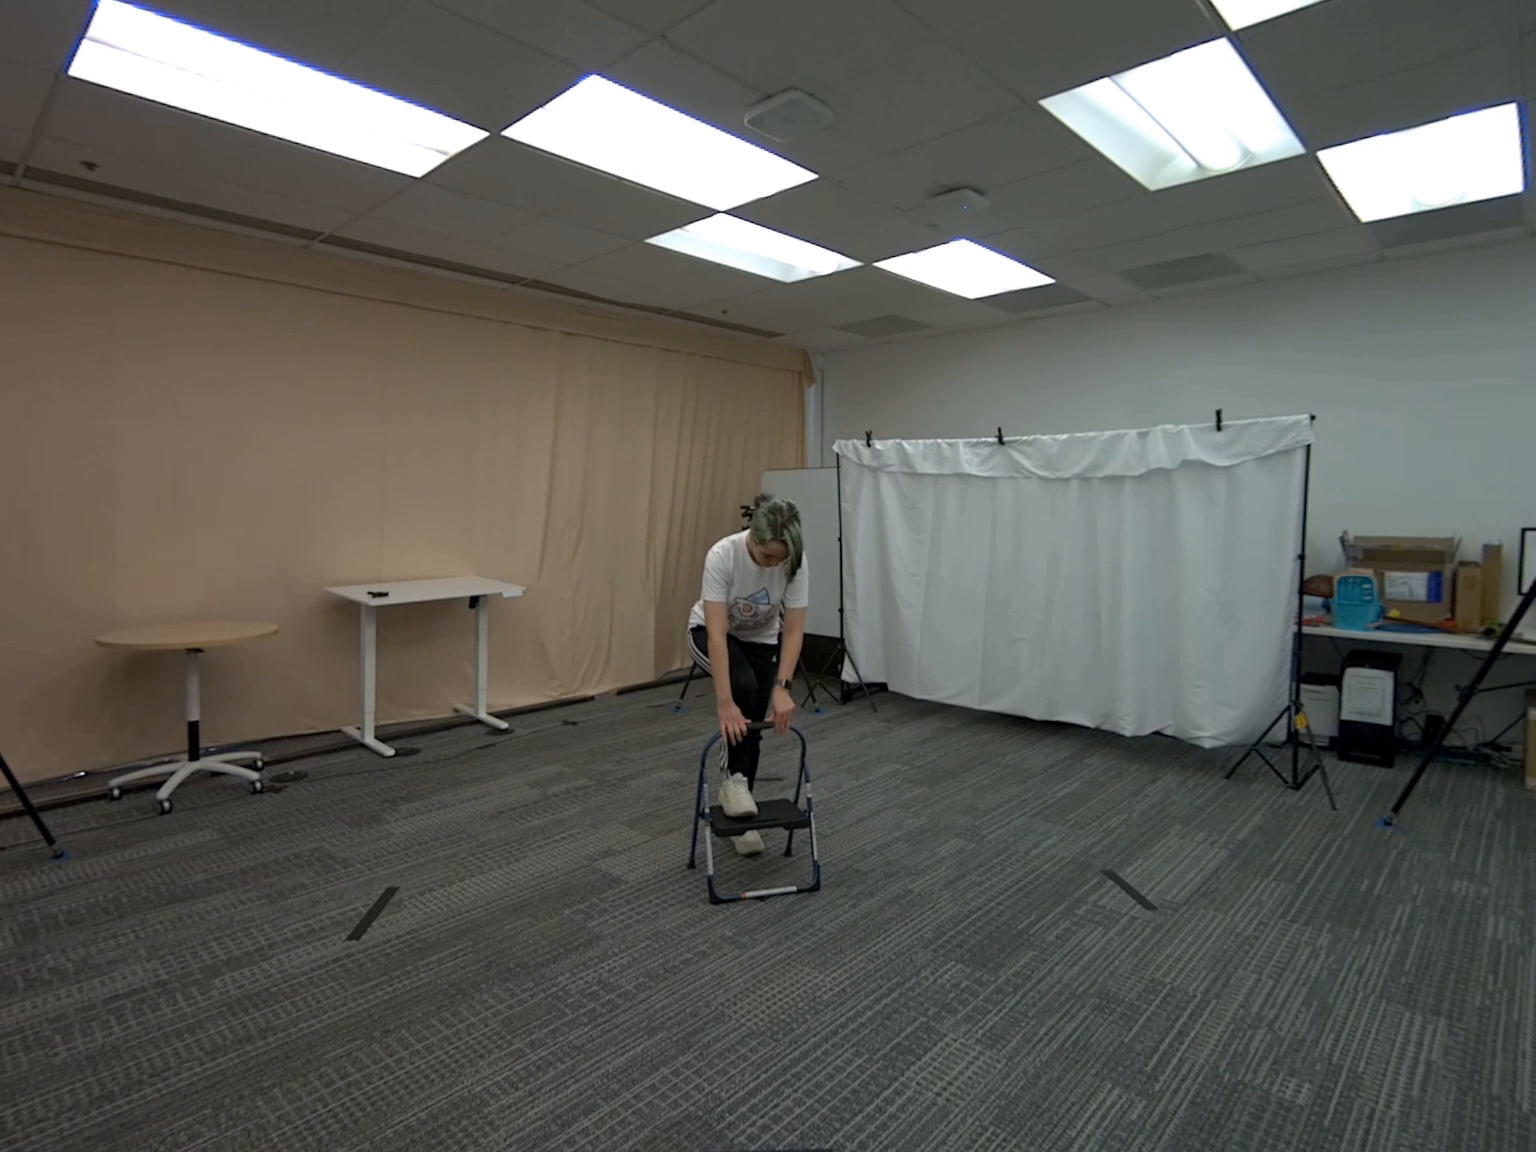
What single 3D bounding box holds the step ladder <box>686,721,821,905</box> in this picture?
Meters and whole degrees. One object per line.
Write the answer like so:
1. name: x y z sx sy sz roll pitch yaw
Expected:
1. step ladder: -0.055 0.831 3.137 0.423 0.605 0.356 -1 4 -17
